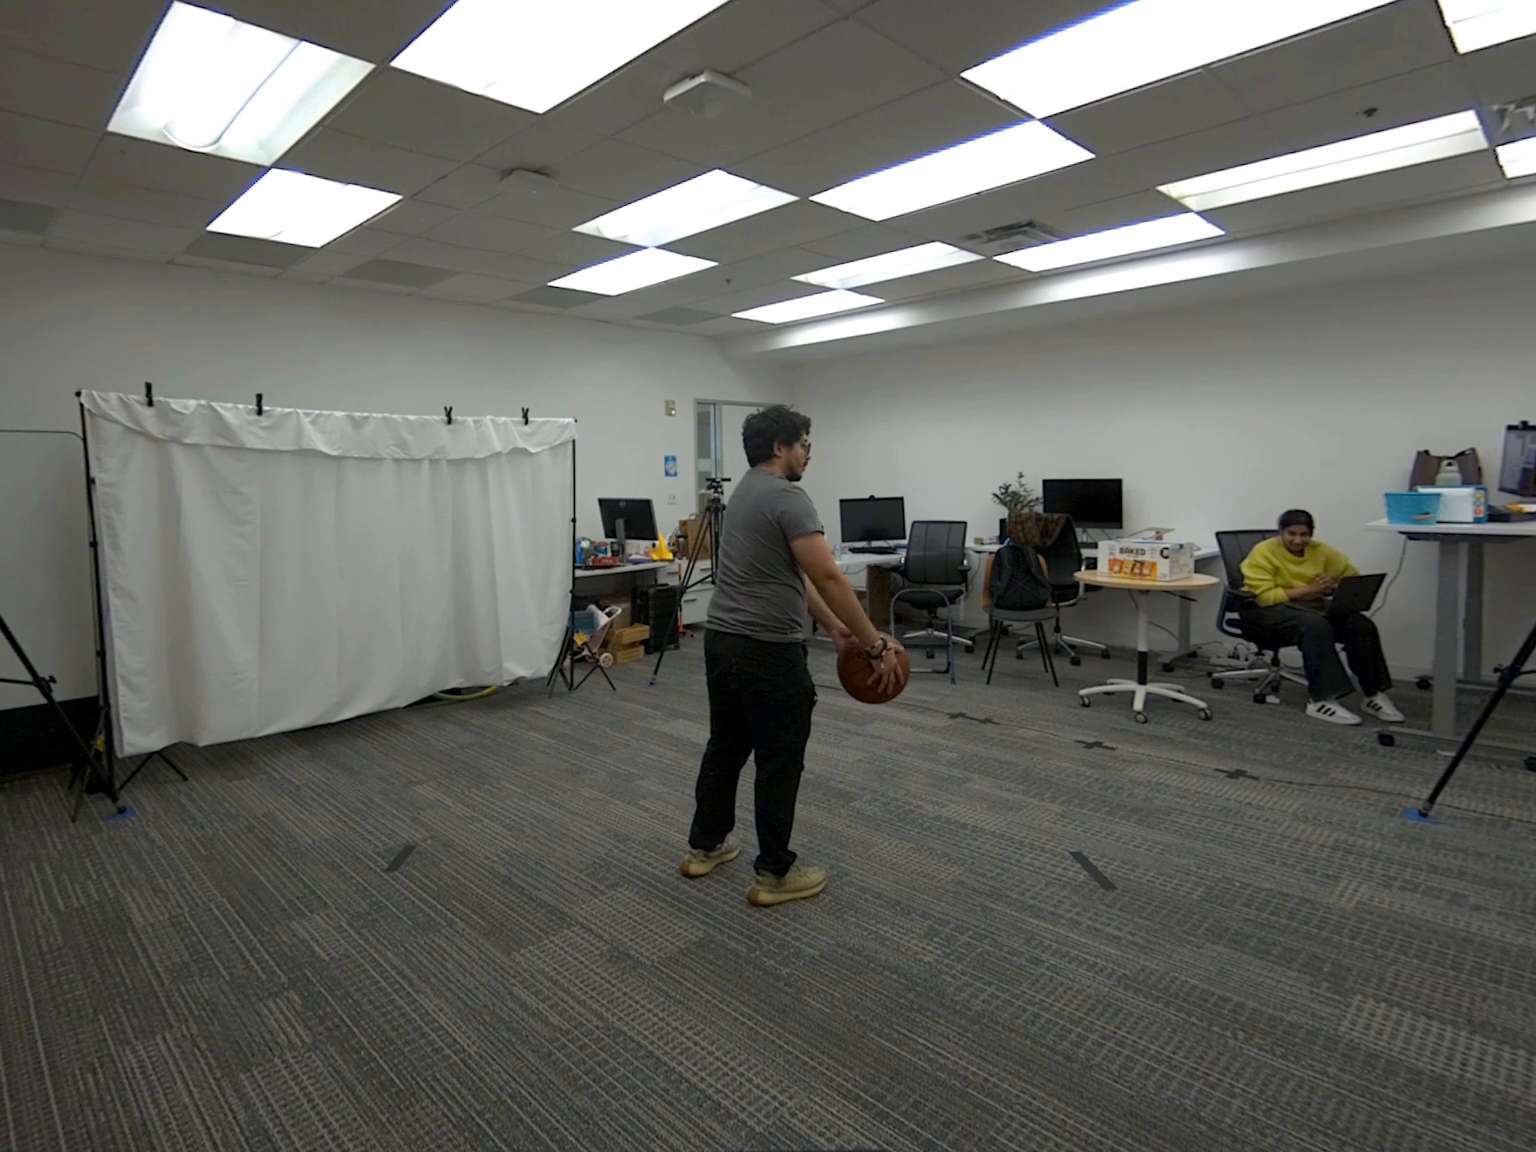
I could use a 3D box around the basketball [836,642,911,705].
[{"bbox_3d":[0.348,0.293,2.813,0.236,0.235,0.237,-1,5,-2],"label":"basketball"}]
